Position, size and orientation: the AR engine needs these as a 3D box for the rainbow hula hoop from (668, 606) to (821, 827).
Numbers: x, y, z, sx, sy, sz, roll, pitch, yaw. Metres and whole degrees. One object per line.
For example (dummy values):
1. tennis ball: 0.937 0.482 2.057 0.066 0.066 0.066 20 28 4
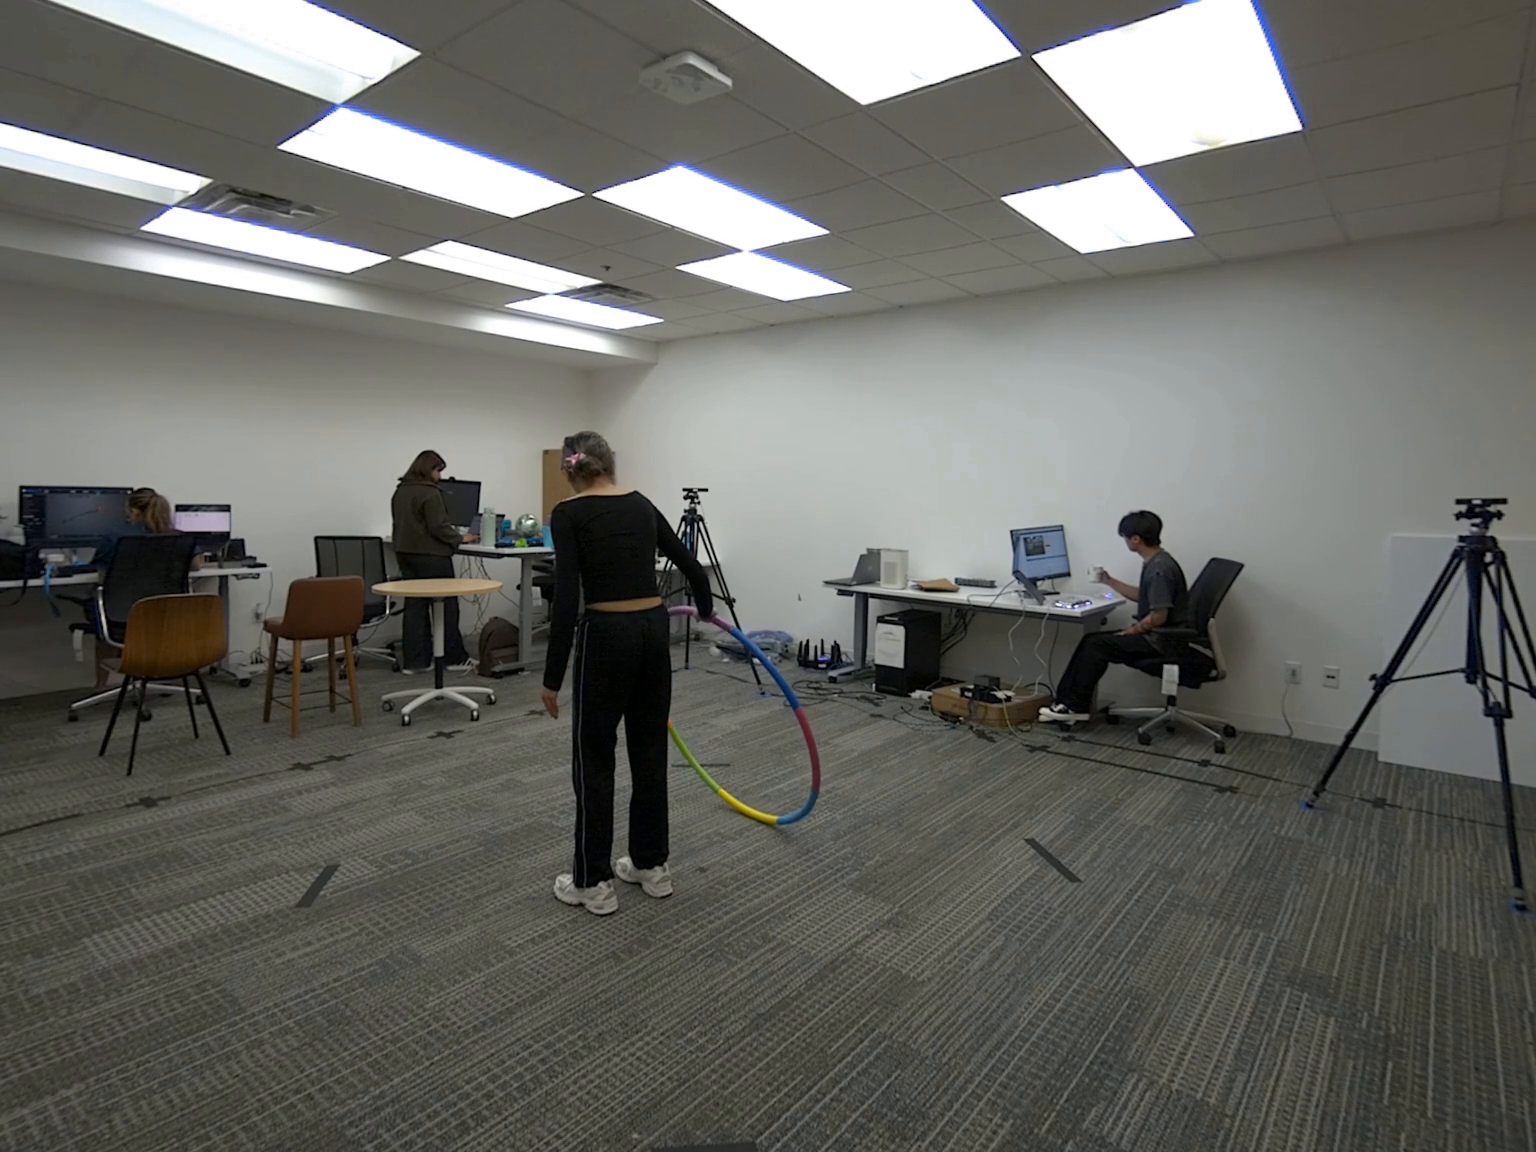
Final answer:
1. rainbow hula hoop: -0.183 0.571 3.470 0.035 0.959 1.012 -29 23 -37
